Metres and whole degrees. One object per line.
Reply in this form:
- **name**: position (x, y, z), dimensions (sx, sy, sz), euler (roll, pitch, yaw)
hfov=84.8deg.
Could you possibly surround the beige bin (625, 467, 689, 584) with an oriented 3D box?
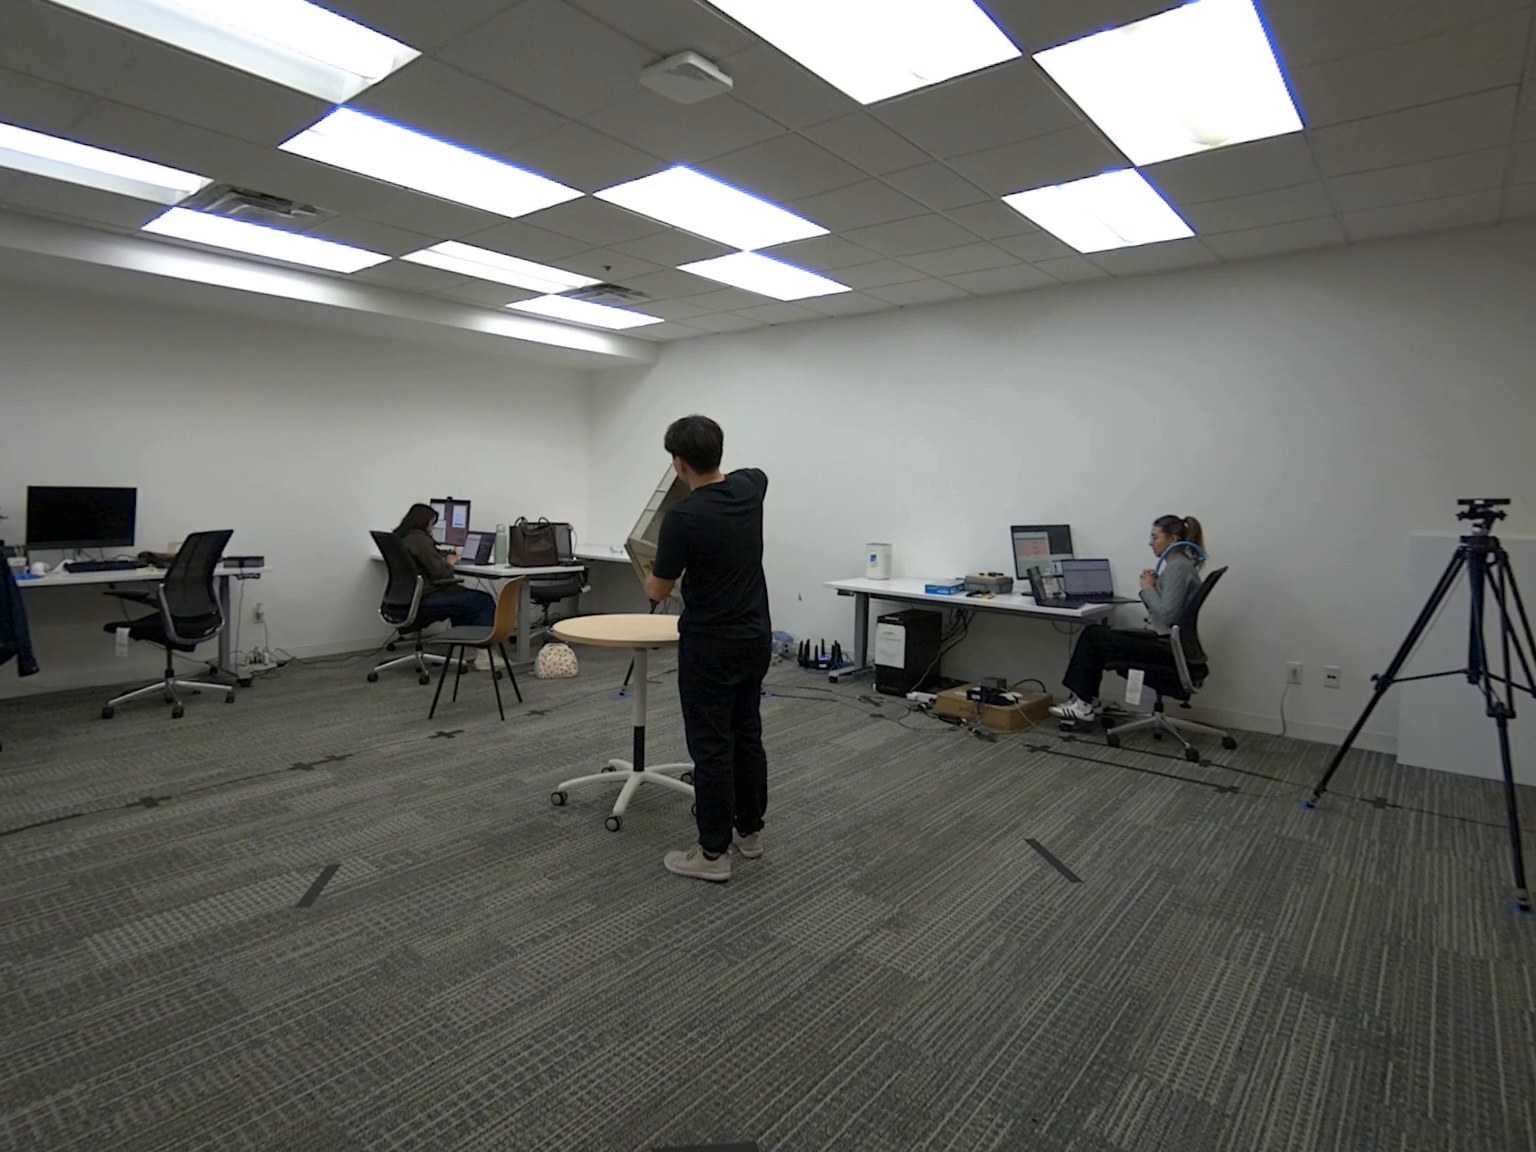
- **beige bin**: position (-0.390, -0.182, 3.478), dimensions (0.194, 0.427, 0.363), euler (10, -35, 23)
